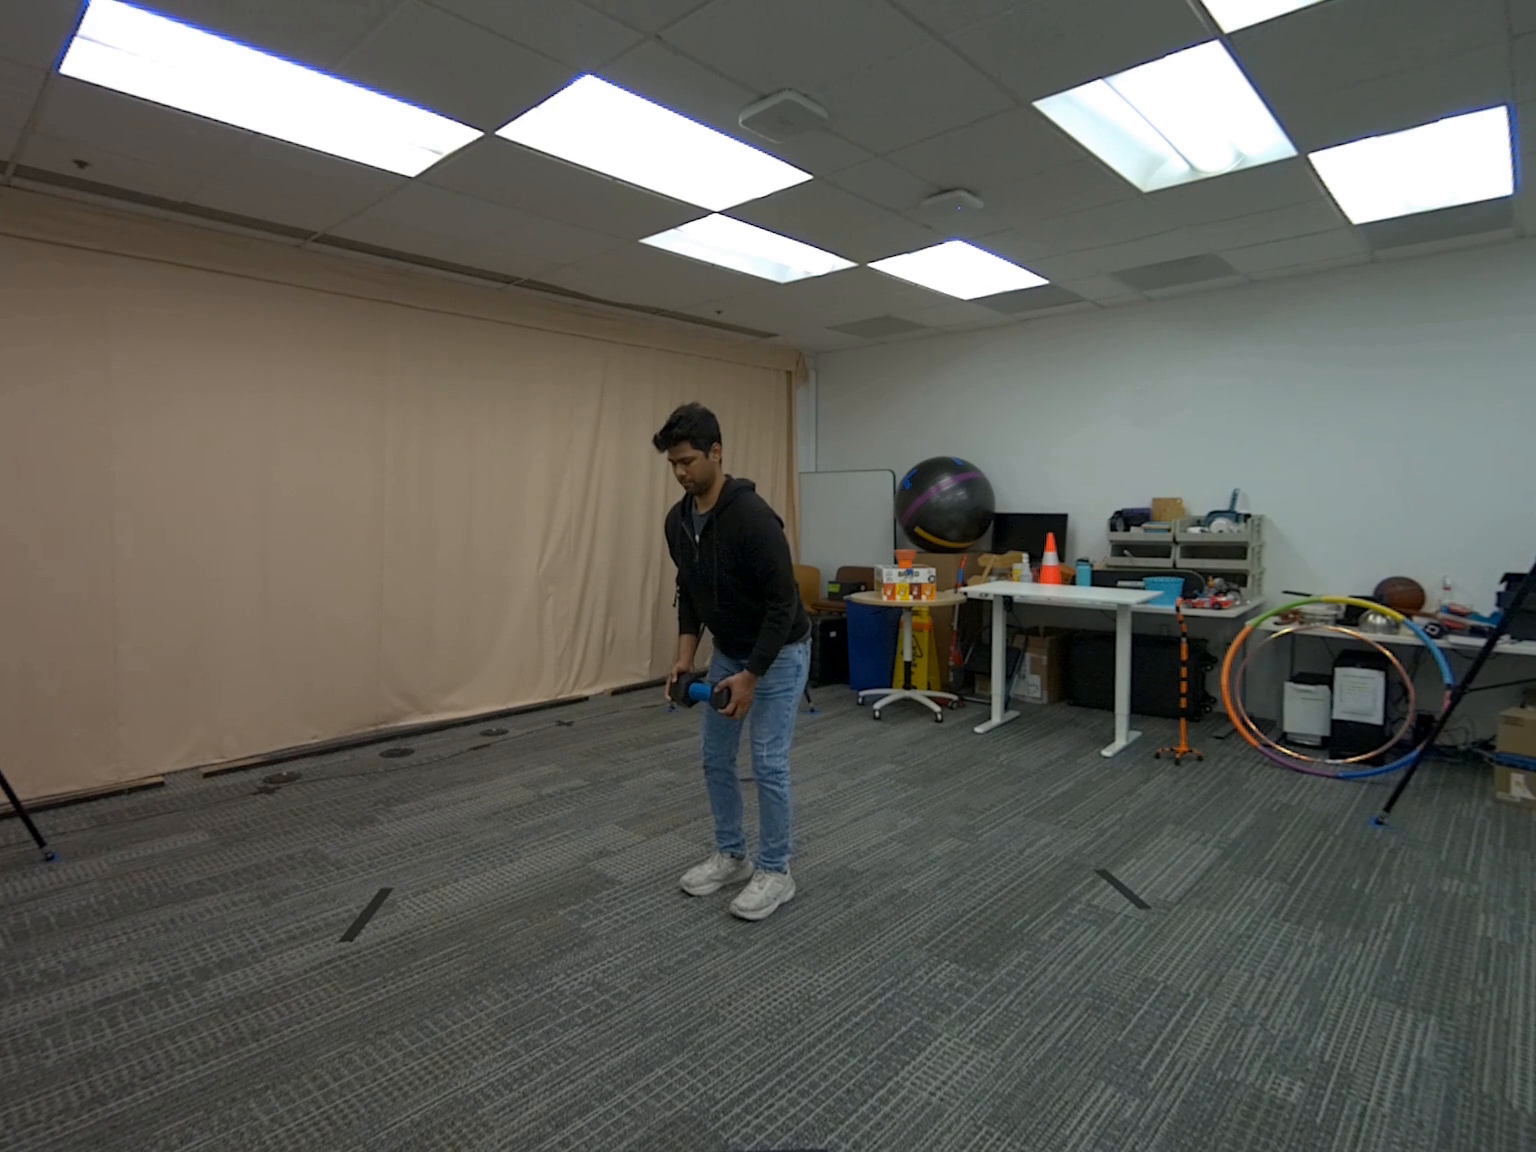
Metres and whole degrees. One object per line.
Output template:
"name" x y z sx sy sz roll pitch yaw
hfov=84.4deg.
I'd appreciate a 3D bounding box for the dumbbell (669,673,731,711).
"dumbbell" -0.197 0.408 2.884 0.303 0.109 0.119 2 -34 45
